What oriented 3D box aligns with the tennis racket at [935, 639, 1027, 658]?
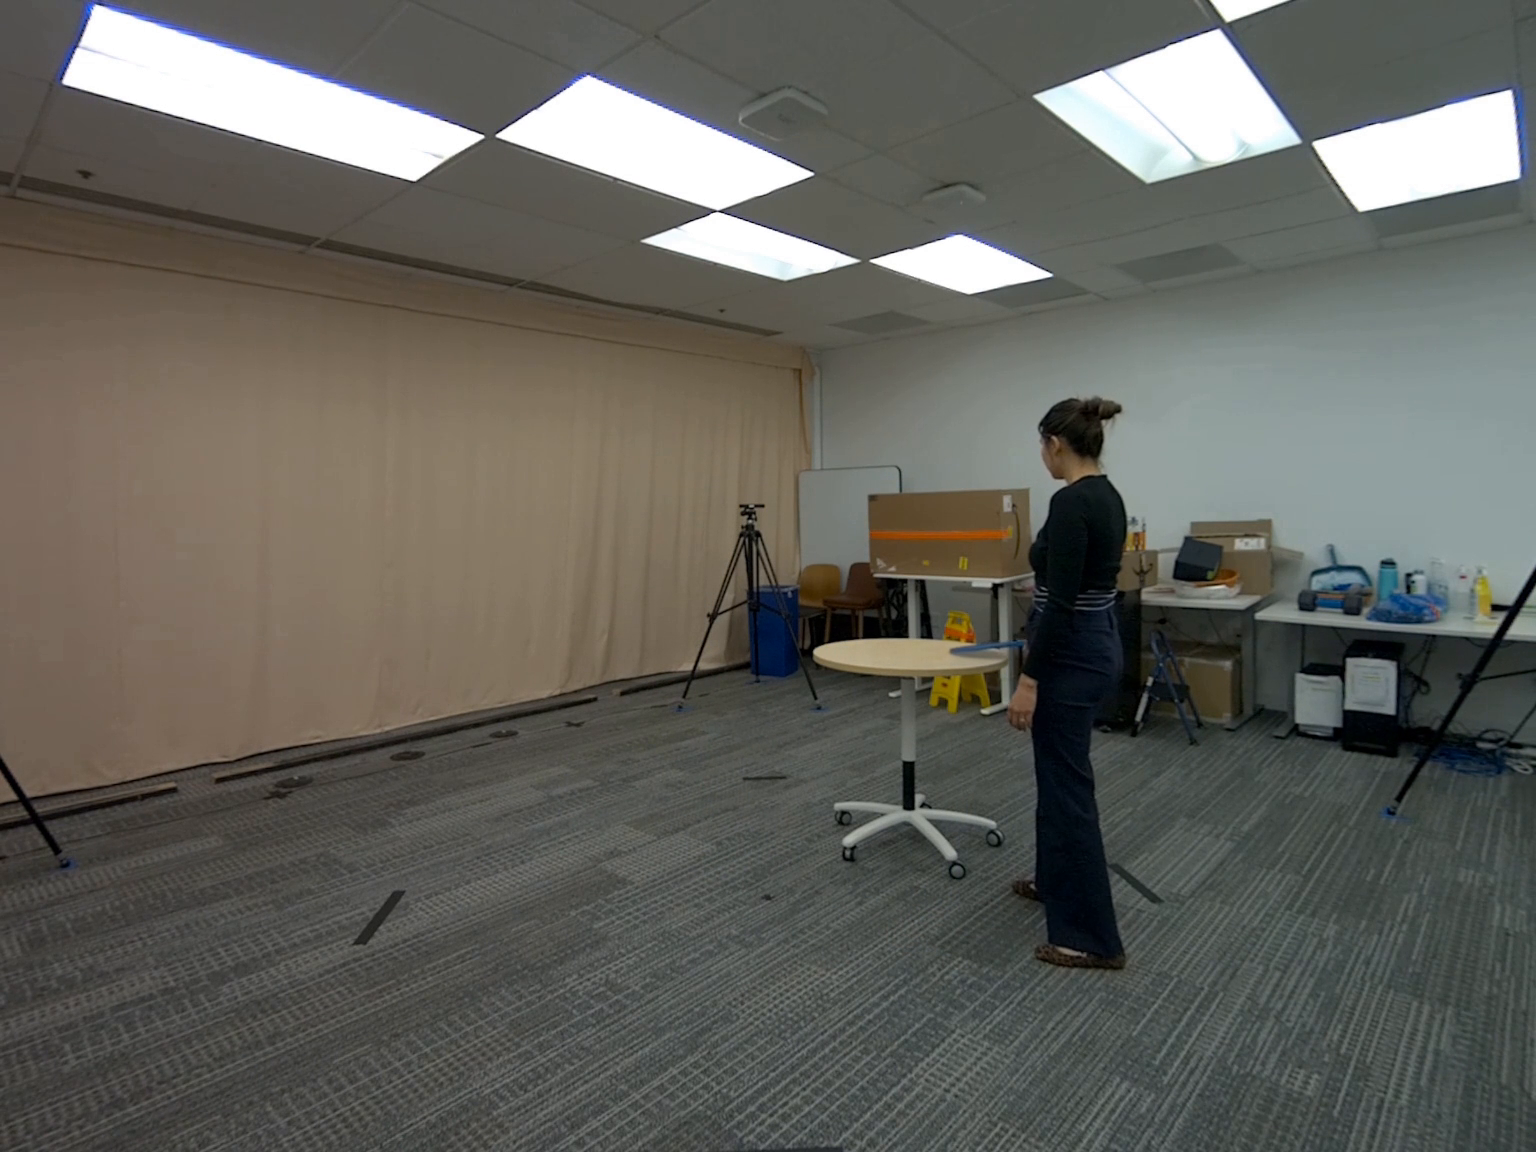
[{"bbox_3d":[0.871,0.275,3.272,0.209,0.032,0.442,-8,-2,-27],"label":"tennis racket"}]
